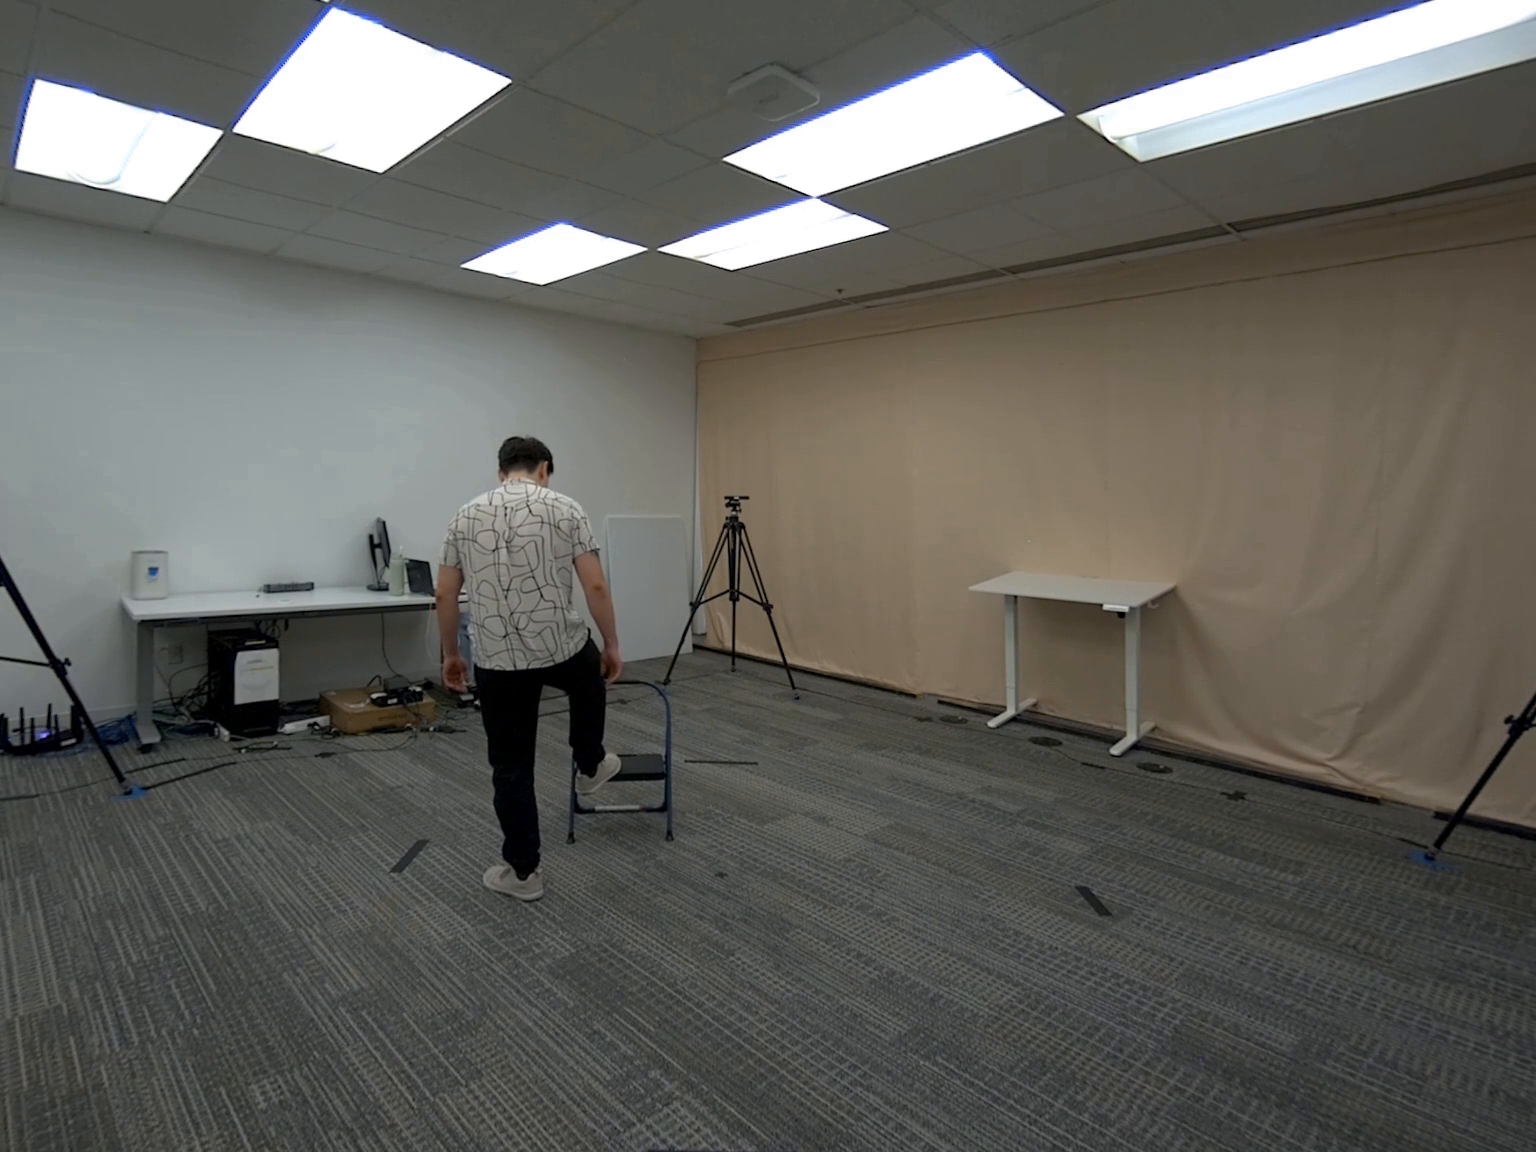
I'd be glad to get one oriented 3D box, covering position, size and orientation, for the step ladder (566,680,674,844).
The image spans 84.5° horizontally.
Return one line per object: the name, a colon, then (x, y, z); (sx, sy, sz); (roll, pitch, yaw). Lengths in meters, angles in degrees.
step ladder: (-0.618, 0.753, 3.546); (0.427, 0.605, 0.352); (1, 3, -9)
